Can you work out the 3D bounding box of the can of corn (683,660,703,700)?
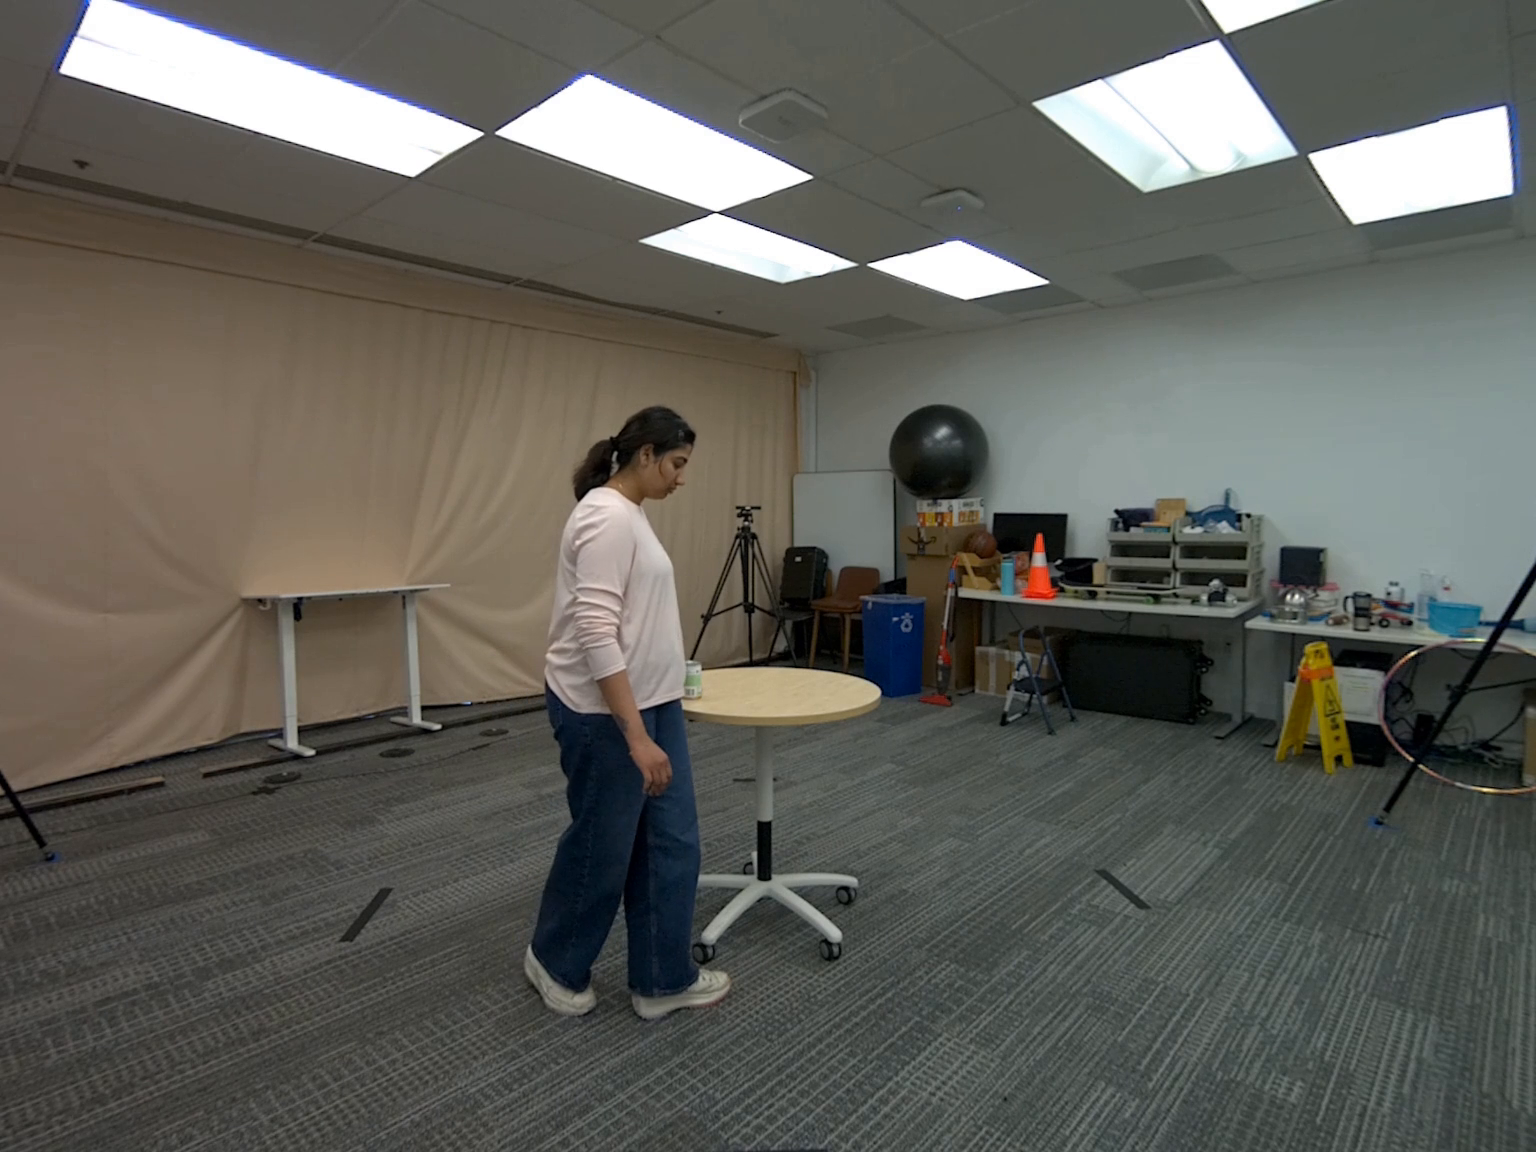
[{"bbox_3d":[-0.236,0.333,2.669,0.074,0.111,0.074,-1,2,-2],"label":"can of corn"}]
